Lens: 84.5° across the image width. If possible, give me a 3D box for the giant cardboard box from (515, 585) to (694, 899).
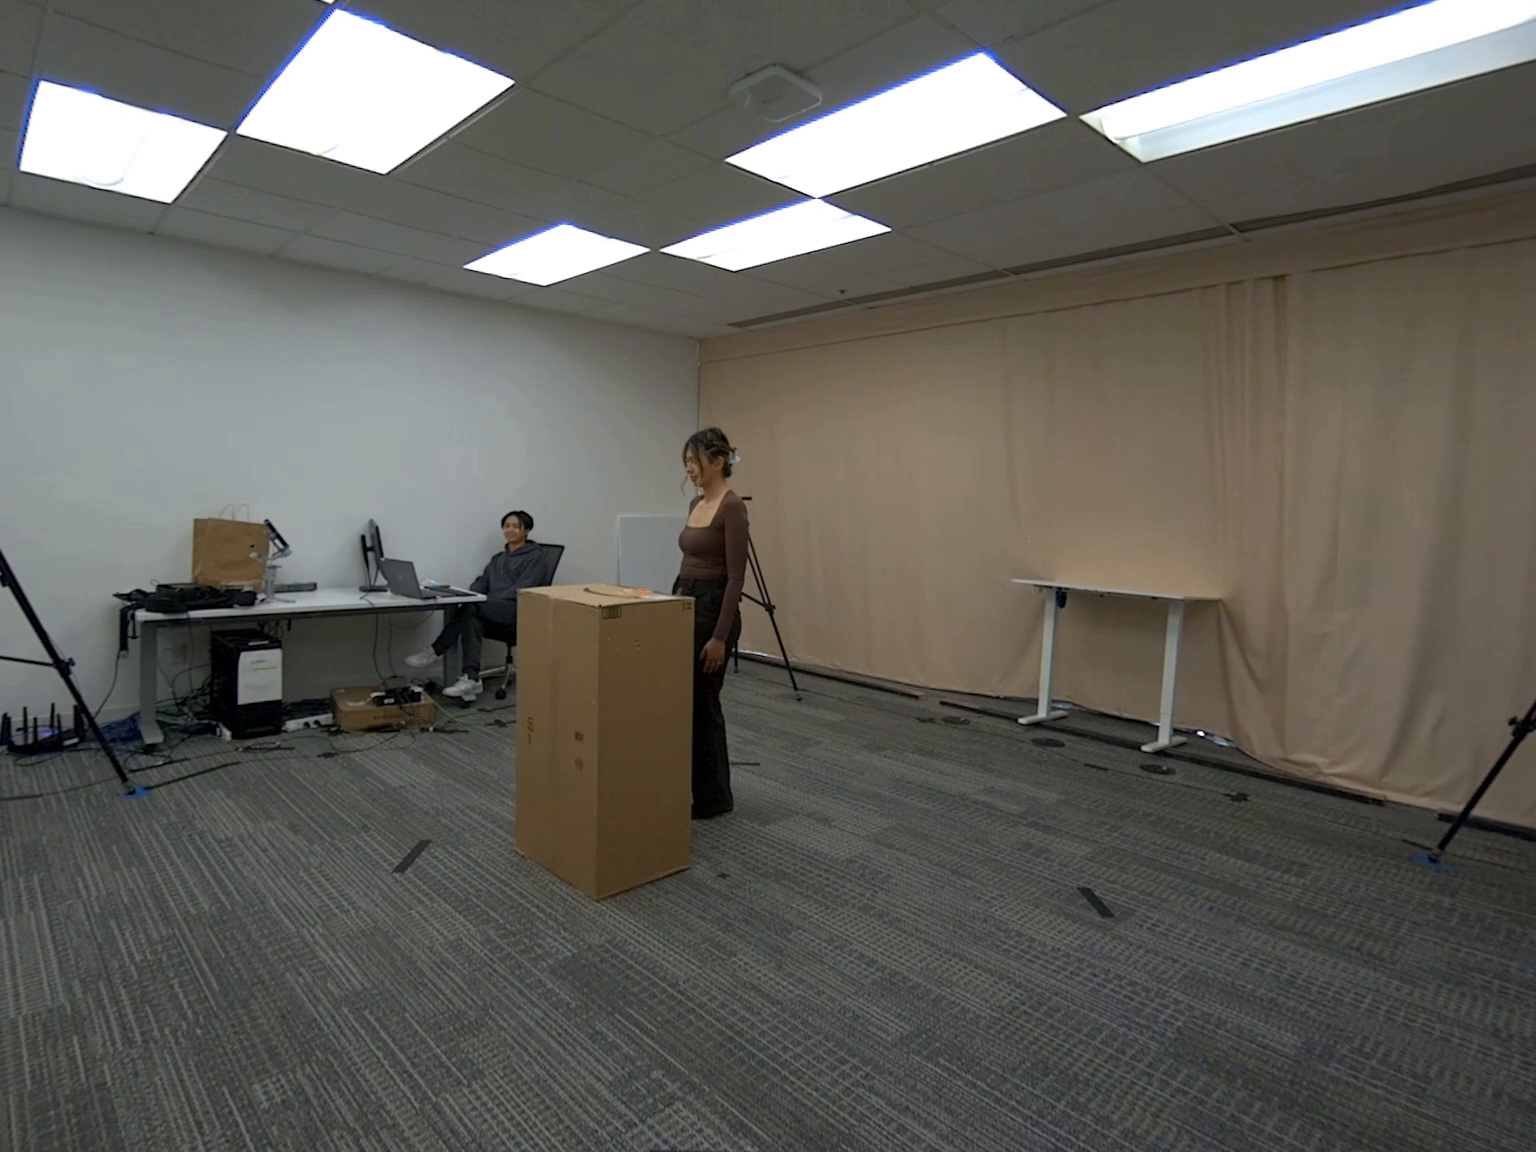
[{"bbox_3d":[-0.637,0.574,3.203,0.436,1.025,0.599,0,4,-42],"label":"giant cardboard box"}]
